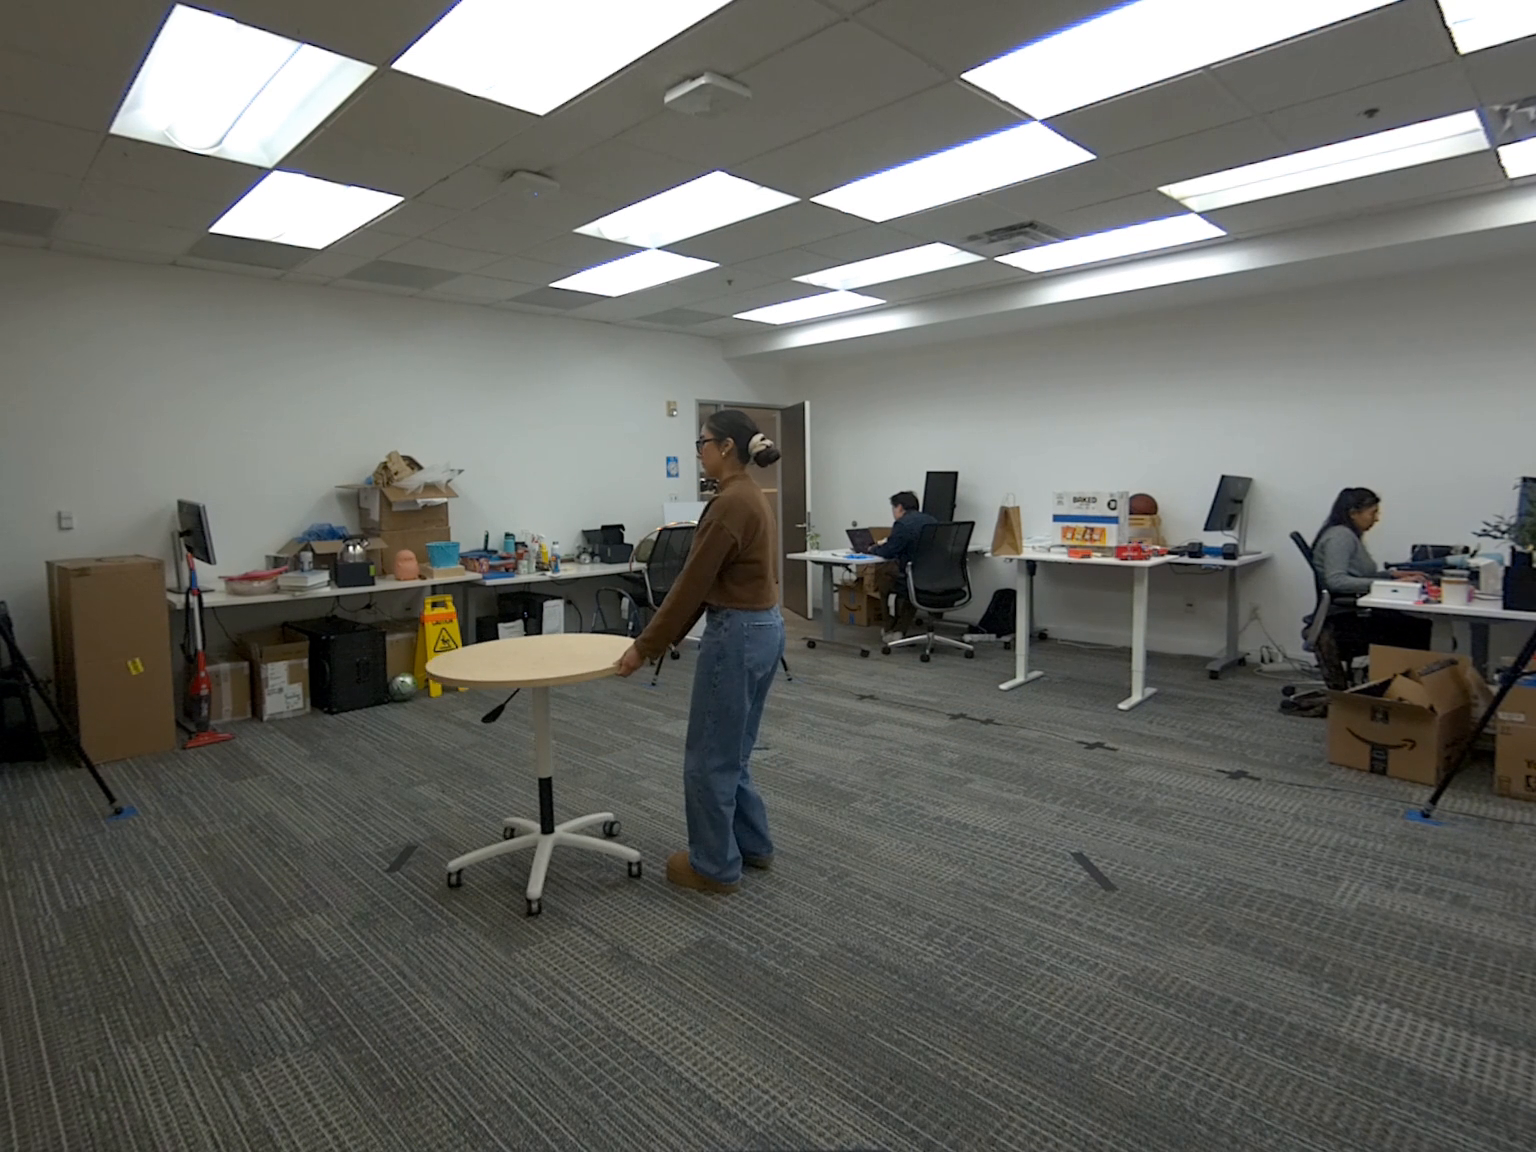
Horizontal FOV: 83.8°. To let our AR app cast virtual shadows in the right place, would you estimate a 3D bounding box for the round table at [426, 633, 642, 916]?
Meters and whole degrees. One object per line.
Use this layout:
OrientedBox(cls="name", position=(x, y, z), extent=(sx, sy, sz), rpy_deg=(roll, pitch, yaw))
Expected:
OrientedBox(cls="round table", position=(-0.767, 0.664, 3.073), extent=(0.784, 0.783, 0.789), rpy_deg=(-2, 6, -2))
